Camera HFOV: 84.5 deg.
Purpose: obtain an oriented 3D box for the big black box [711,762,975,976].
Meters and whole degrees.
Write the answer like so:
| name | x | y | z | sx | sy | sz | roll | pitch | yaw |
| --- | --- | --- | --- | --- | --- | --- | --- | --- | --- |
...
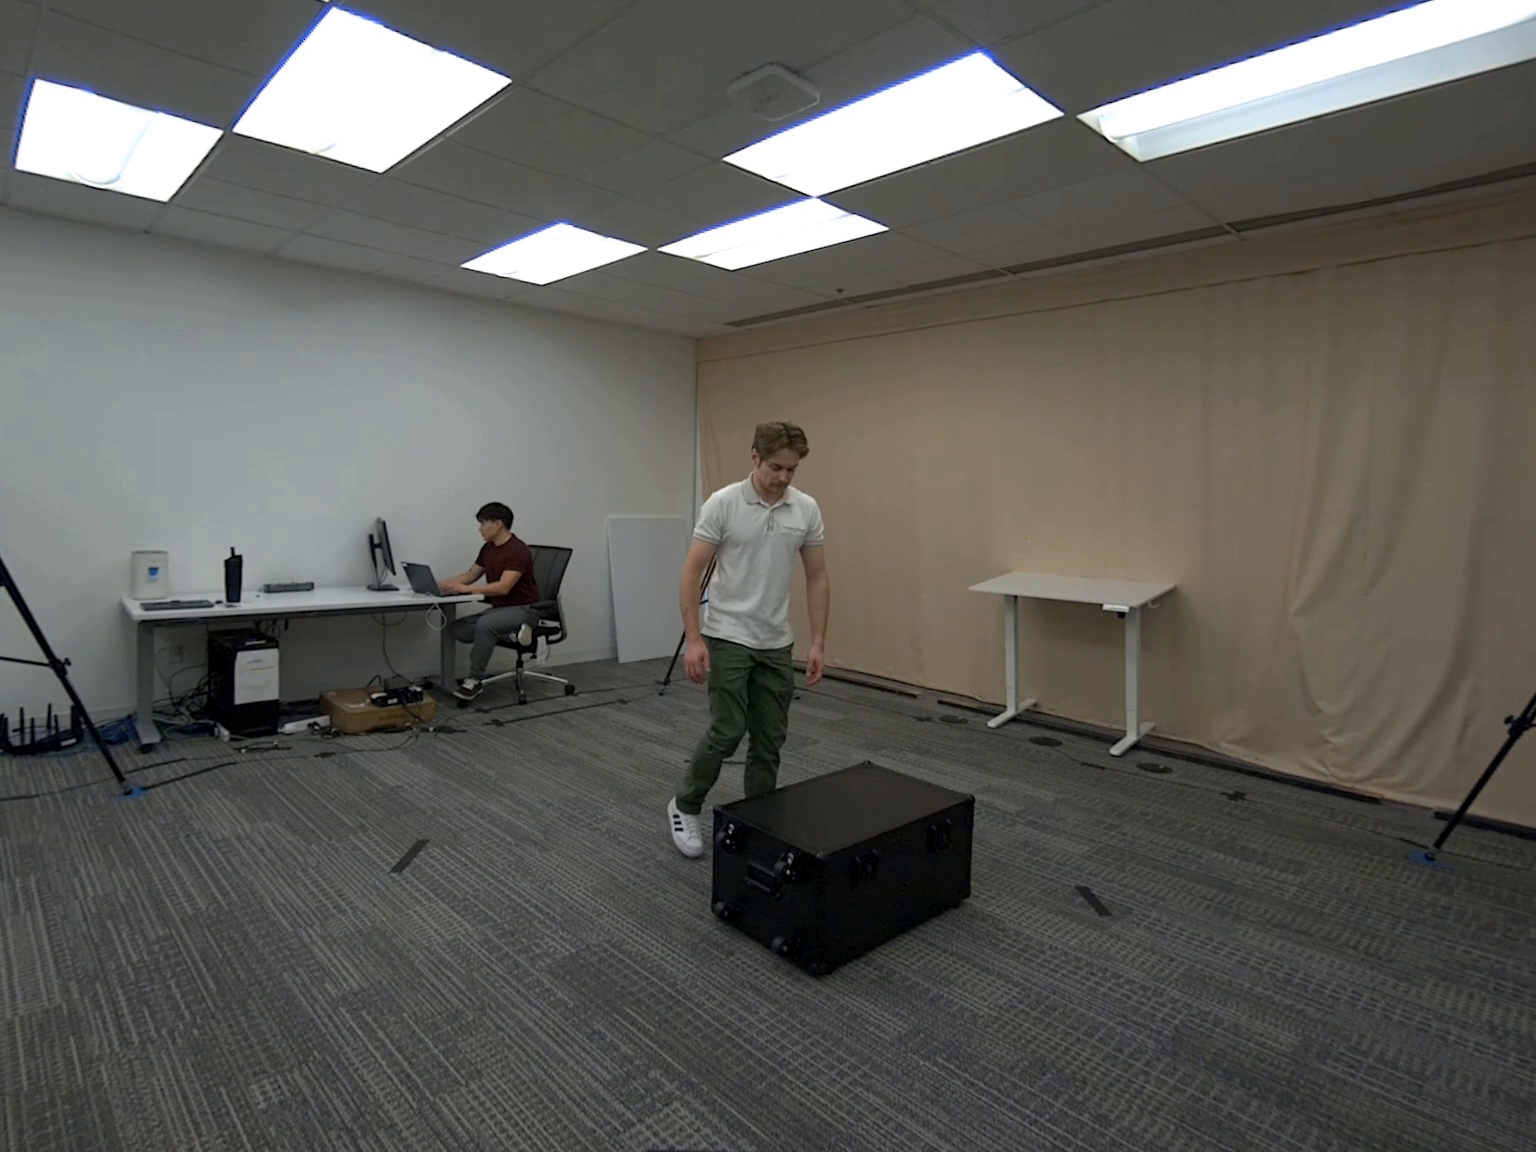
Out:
| name | x | y | z | sx | sy | sz | roll | pitch | yaw |
| --- | --- | --- | --- | --- | --- | --- | --- | --- | --- |
| big black box | 0.234 | 0.948 | 2.822 | 0.841 | 0.395 | 0.535 | -2 | 5 | -43 |
